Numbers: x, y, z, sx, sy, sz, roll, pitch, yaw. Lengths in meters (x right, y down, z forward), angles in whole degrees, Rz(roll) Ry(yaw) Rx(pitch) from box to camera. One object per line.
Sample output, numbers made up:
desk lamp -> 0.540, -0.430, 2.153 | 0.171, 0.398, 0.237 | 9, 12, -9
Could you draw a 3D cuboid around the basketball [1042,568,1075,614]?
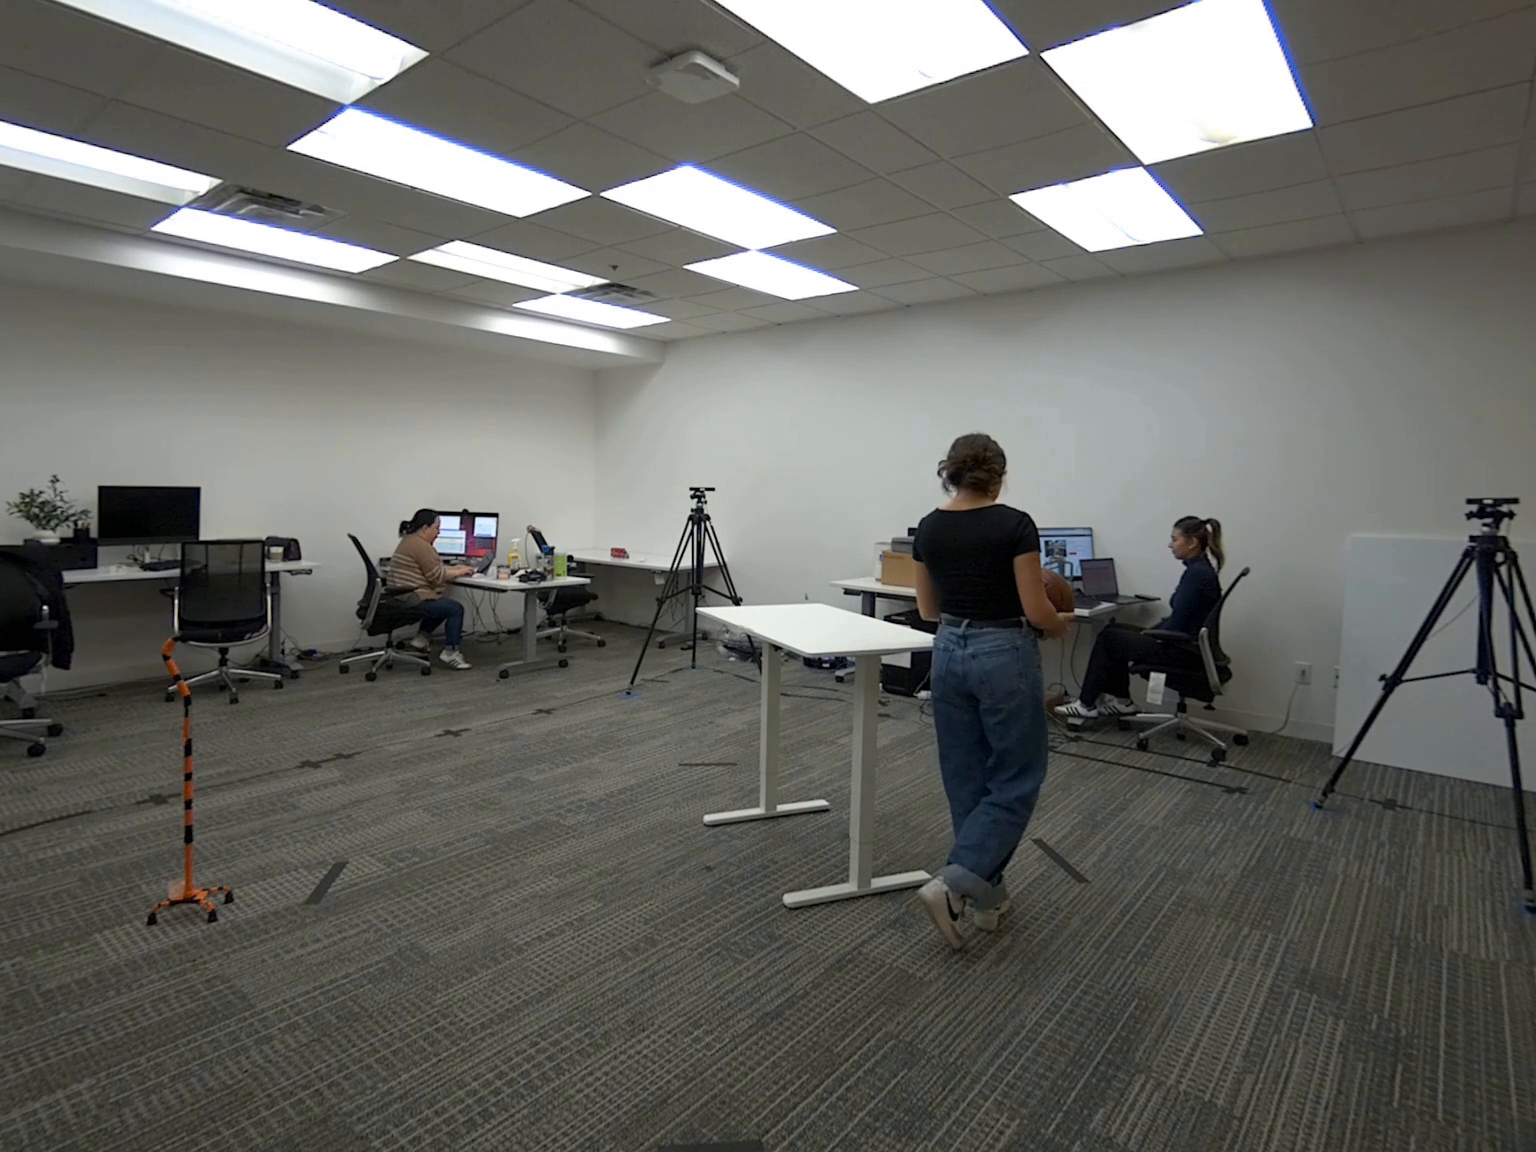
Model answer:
basketball -> 0.886, 0.088, 2.838 | 0.235, 0.235, 0.237 | 1, 4, -2
